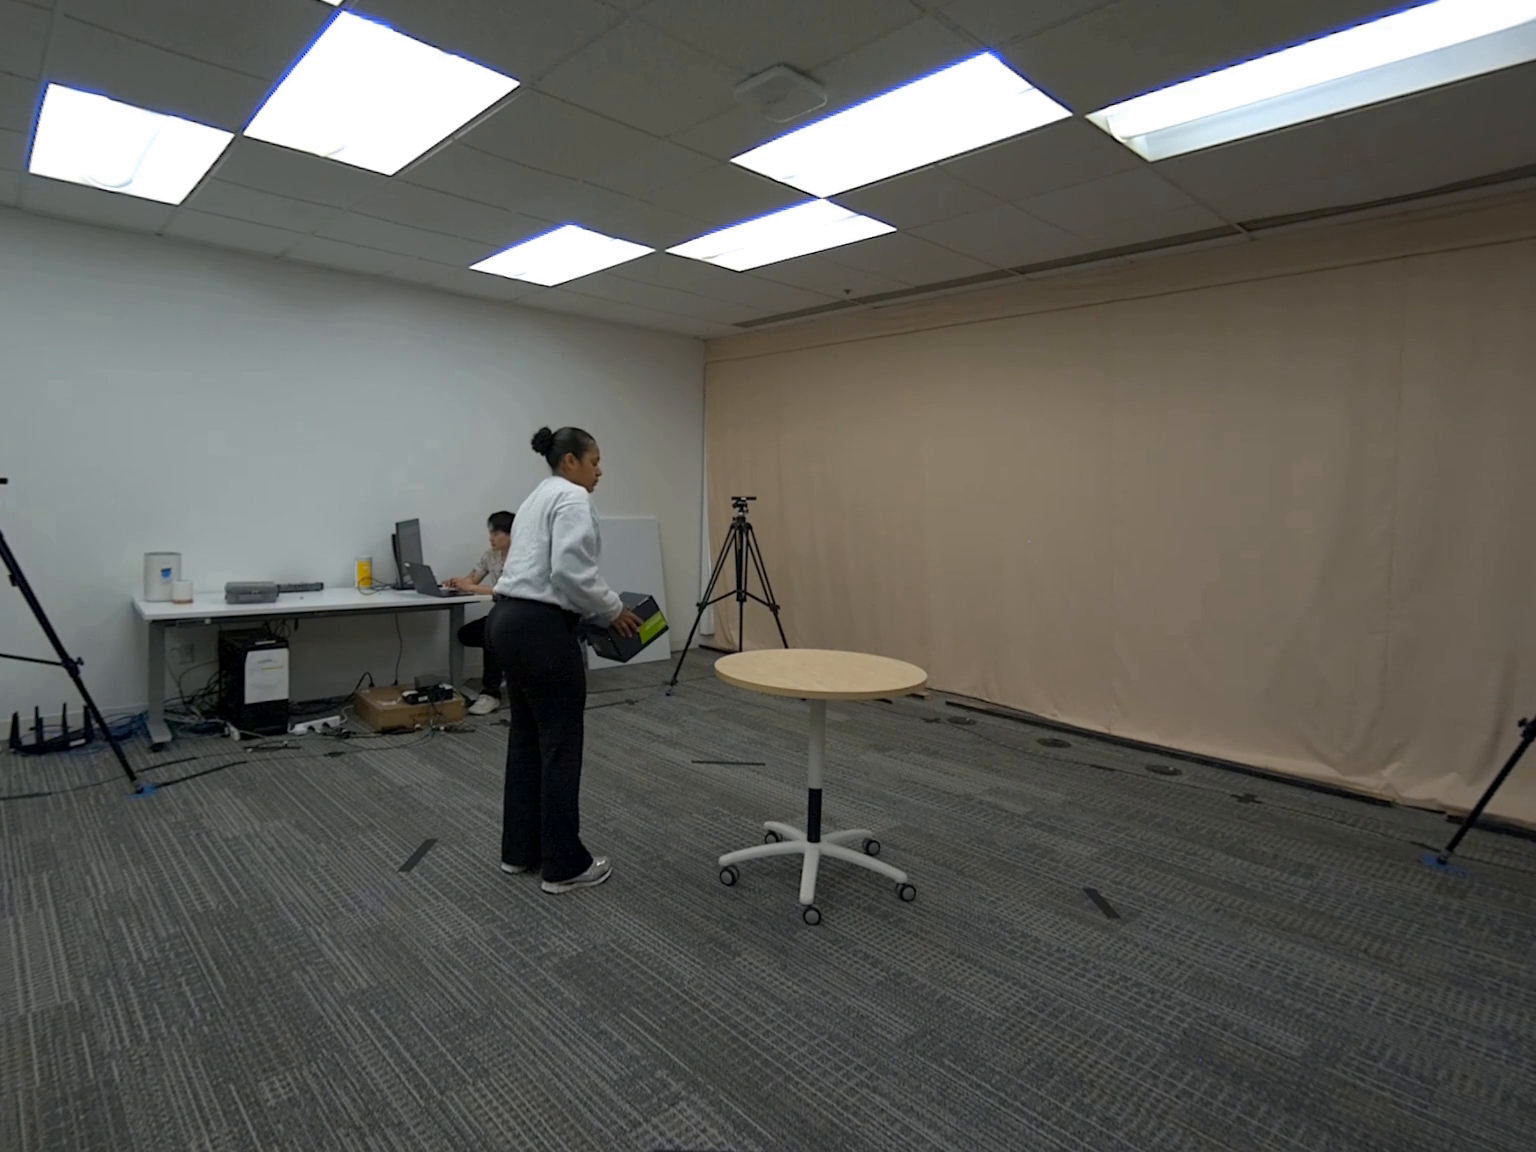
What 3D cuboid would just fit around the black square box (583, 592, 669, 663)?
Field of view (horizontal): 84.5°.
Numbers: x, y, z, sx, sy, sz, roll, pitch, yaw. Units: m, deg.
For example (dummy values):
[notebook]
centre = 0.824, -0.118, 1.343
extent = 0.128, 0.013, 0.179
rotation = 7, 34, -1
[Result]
[black square box]
centre = -0.551, 0.185, 3.197
extent = 0.227, 0.153, 0.222
rotation = -38, 23, -29
